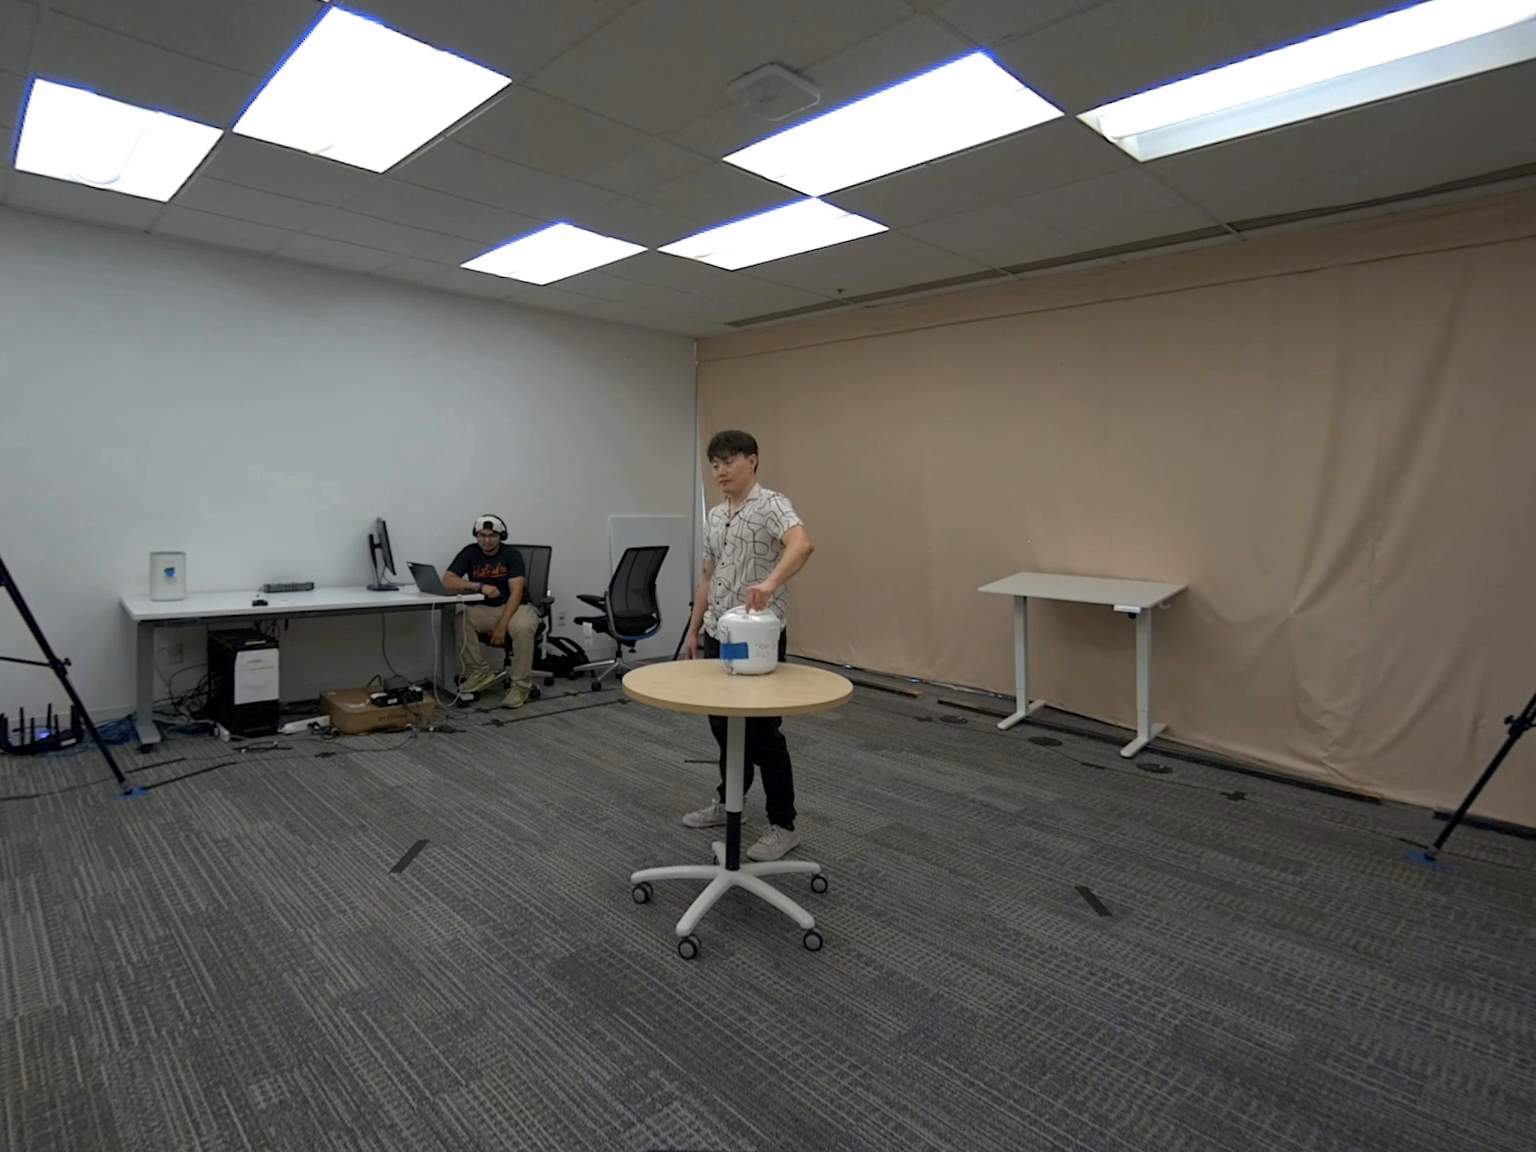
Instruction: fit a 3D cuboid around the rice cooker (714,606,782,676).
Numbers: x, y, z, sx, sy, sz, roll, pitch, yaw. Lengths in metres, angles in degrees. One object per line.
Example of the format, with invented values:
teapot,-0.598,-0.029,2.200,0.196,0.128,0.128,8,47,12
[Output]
rice cooker,-0.078,0.221,2.977,0.220,0.232,0.218,3,4,-1
